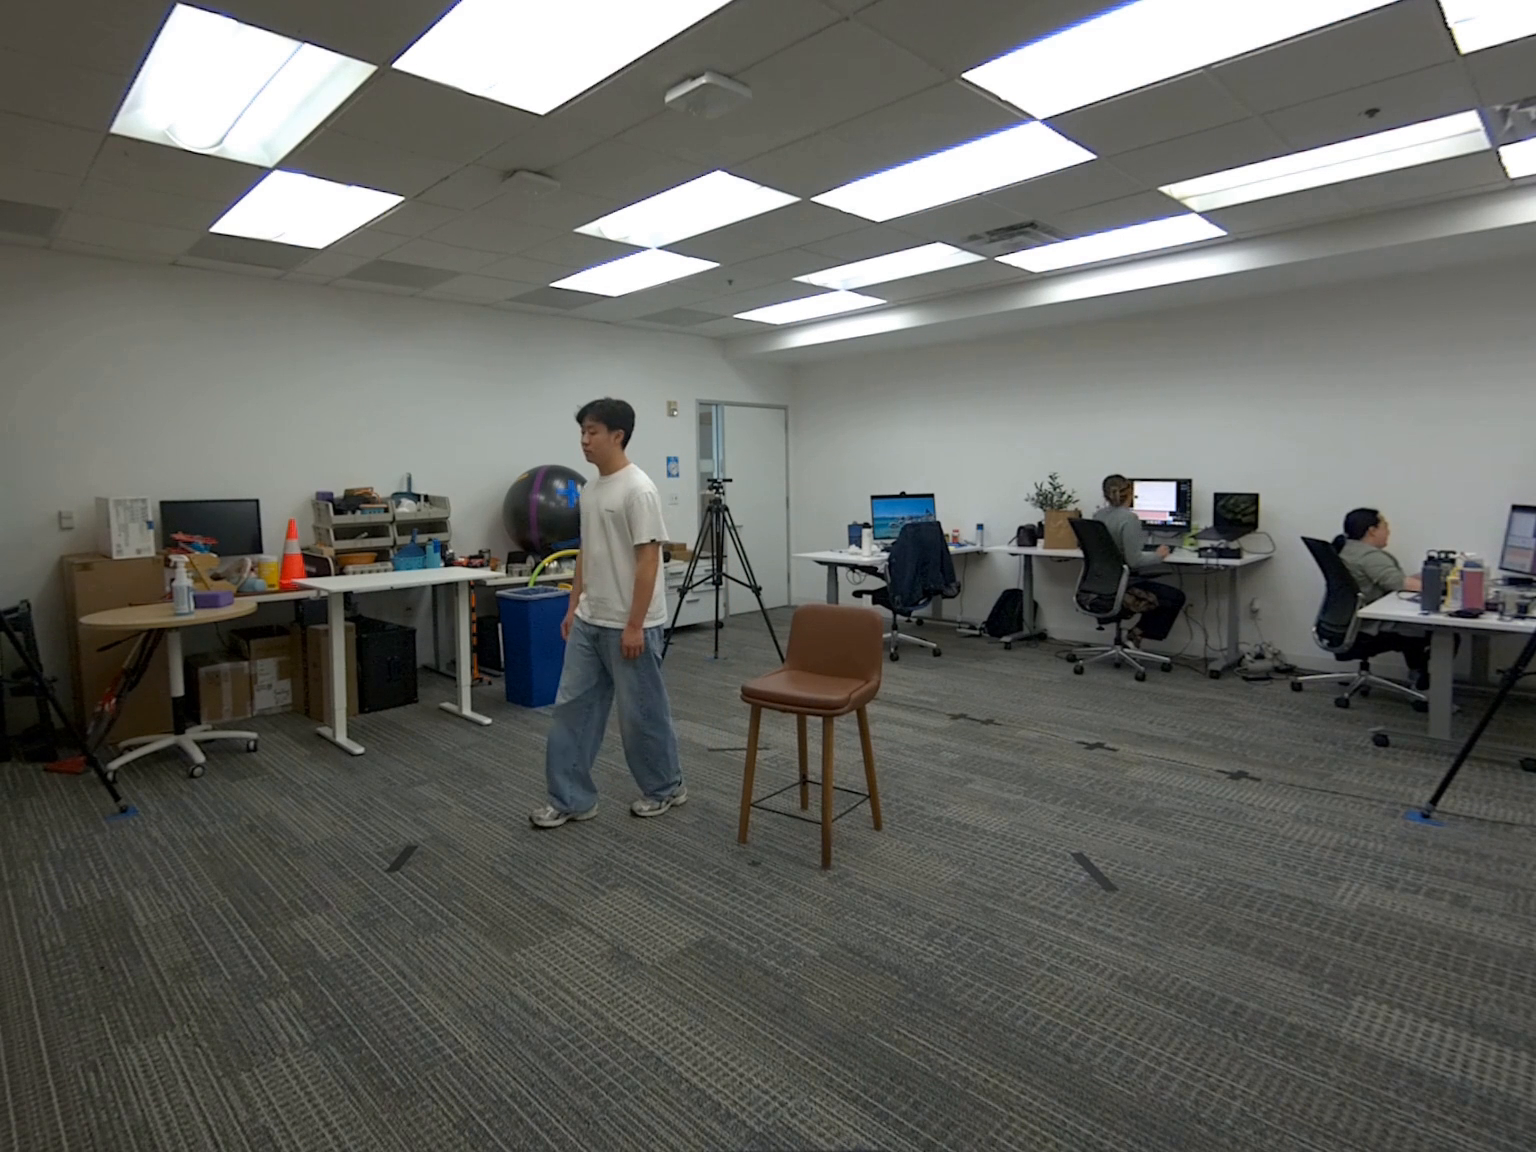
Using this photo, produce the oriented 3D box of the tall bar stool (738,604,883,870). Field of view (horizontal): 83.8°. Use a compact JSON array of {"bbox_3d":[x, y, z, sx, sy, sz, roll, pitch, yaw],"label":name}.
[{"bbox_3d":[0.179,0.583,3.316,0.470,0.888,0.455,3,3,37],"label":"tall bar stool"}]
